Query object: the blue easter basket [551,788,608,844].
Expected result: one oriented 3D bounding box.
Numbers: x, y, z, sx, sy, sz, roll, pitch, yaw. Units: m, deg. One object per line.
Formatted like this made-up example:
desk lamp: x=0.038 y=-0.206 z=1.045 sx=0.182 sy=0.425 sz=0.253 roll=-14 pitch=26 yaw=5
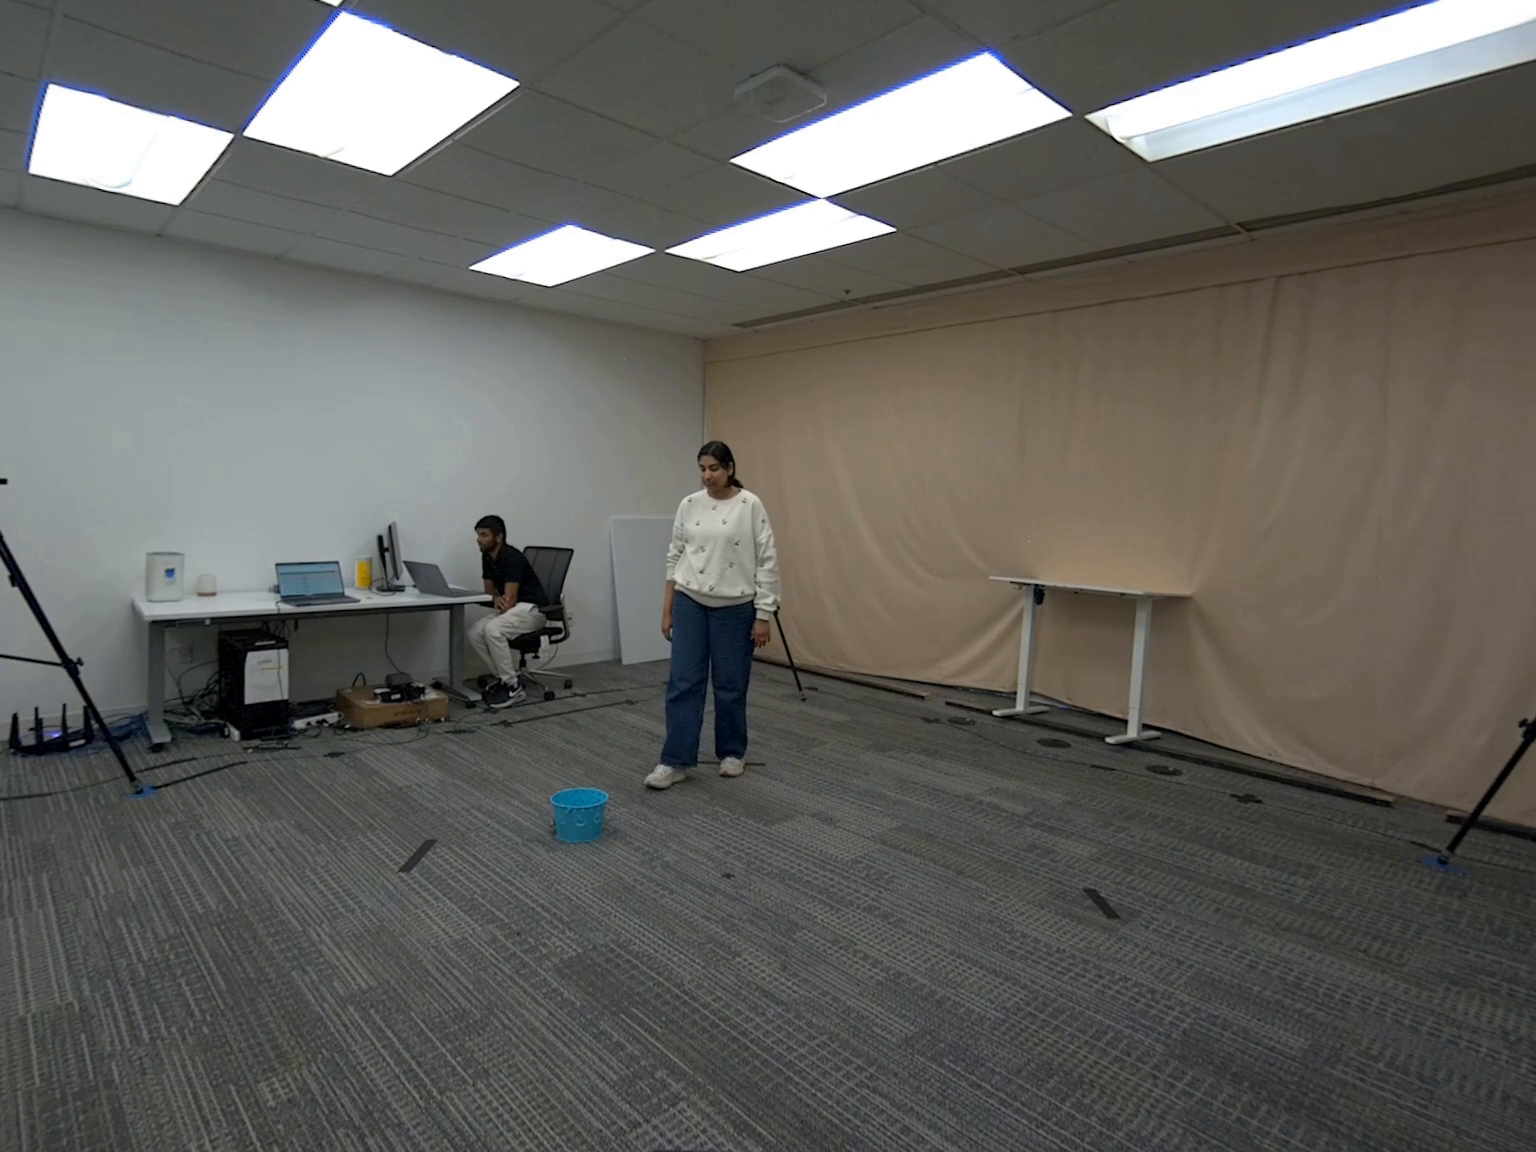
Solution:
blue easter basket: x=-0.786 y=0.983 z=3.463 sx=0.243 sy=0.155 sz=0.244 roll=2 pitch=4 yaw=-2
